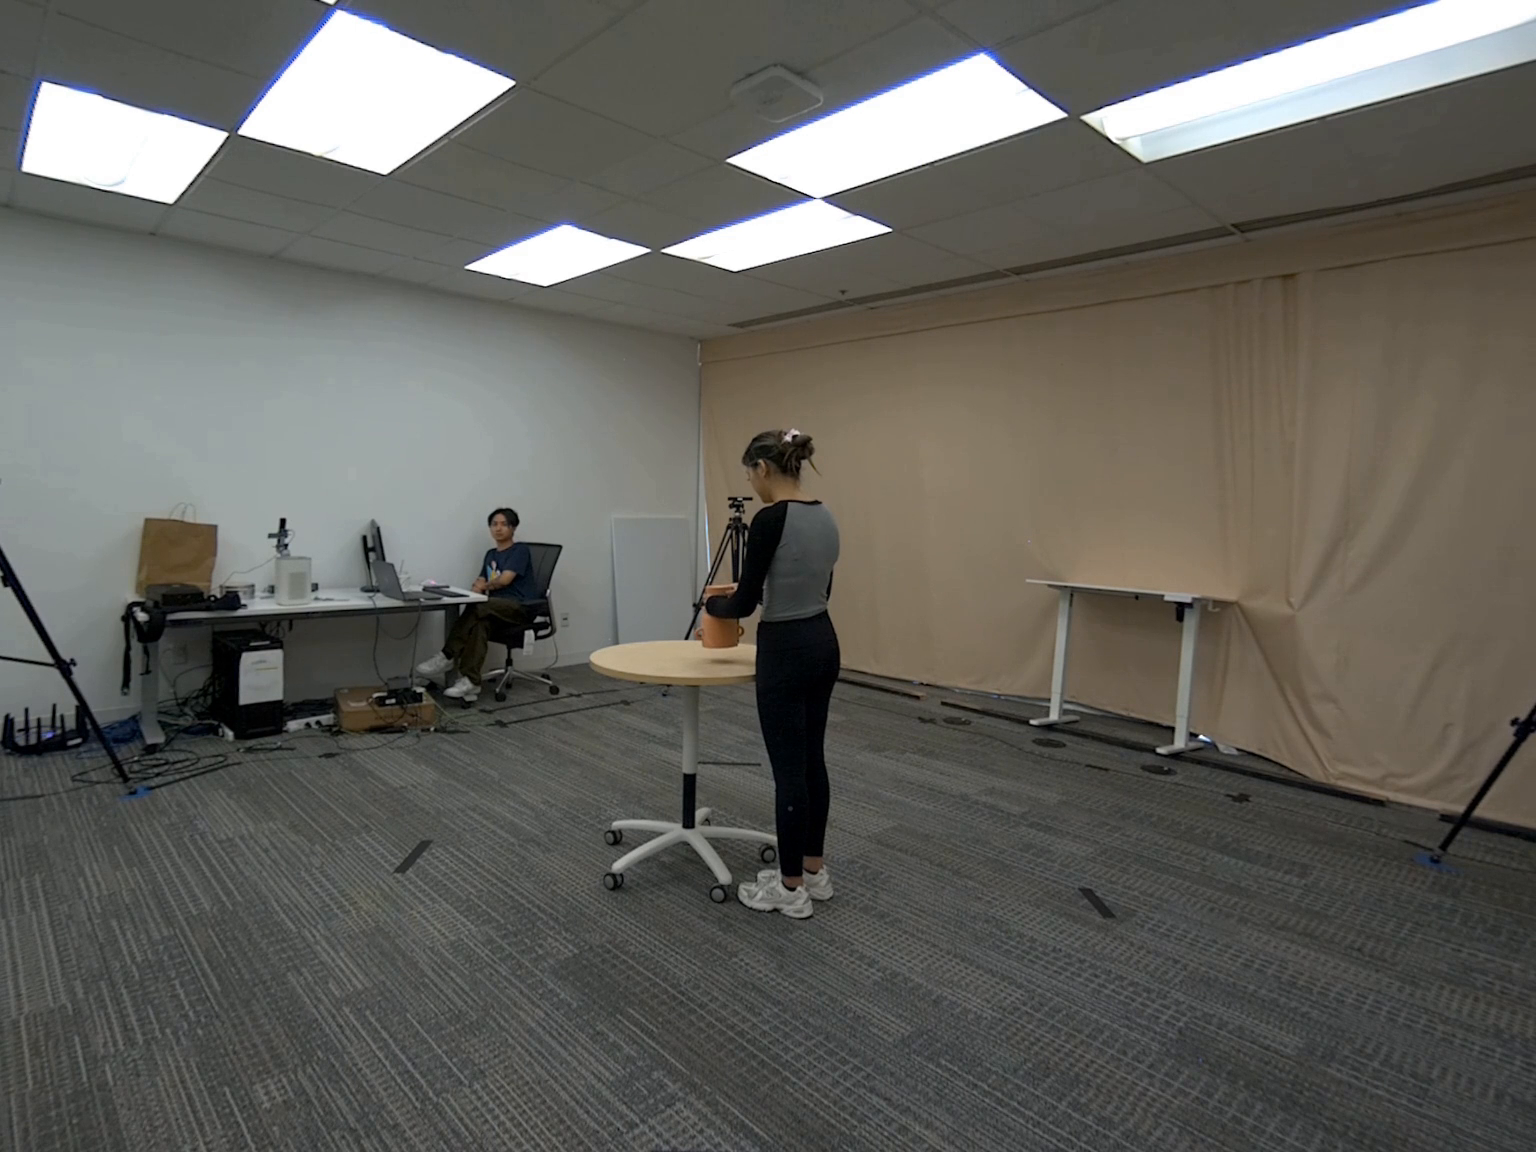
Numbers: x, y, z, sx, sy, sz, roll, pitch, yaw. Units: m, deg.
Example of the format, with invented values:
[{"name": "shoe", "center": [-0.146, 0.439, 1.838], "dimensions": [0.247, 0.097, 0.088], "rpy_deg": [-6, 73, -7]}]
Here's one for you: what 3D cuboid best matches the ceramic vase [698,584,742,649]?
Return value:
[{"name": "ceramic vase", "center": [-0.180, 0.146, 3.083], "dimensions": [0.137, 0.219, 0.156], "rpy_deg": [1, 5, 26]}]
